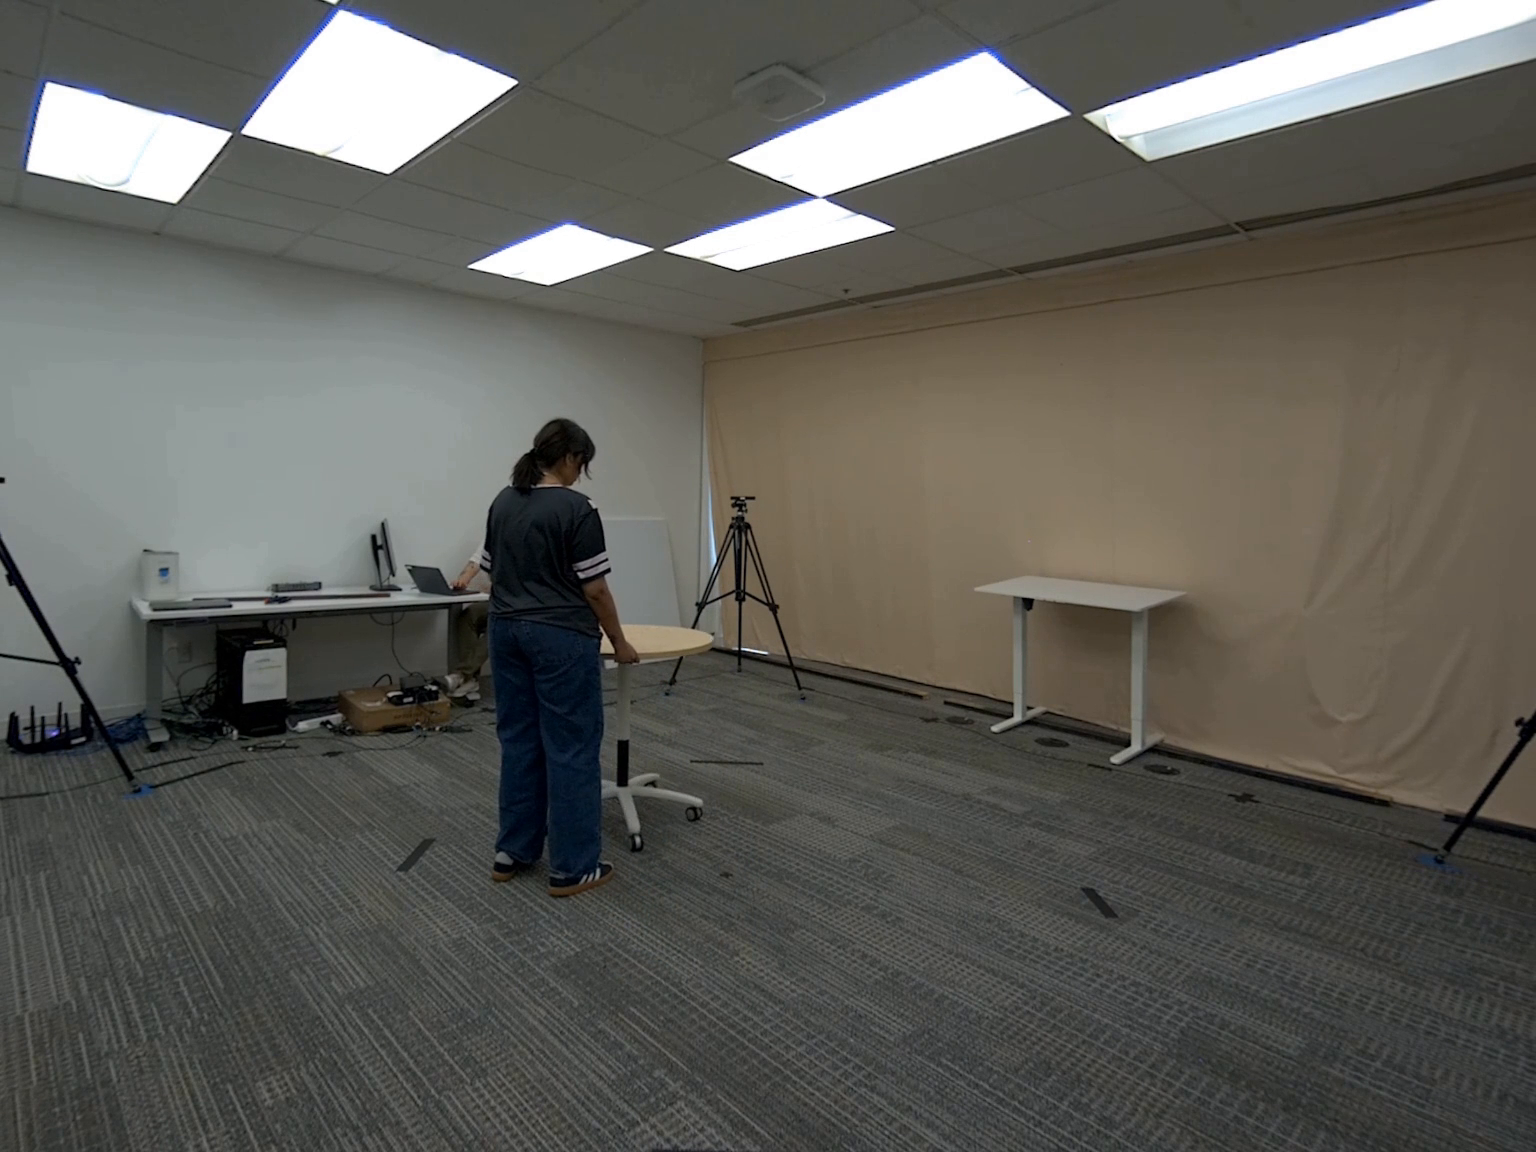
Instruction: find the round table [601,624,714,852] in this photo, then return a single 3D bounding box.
[{"bbox_3d":[-0.624,0.660,3.622,0.763,0.792,0.766,1,4,-1],"label":"round table"}]
